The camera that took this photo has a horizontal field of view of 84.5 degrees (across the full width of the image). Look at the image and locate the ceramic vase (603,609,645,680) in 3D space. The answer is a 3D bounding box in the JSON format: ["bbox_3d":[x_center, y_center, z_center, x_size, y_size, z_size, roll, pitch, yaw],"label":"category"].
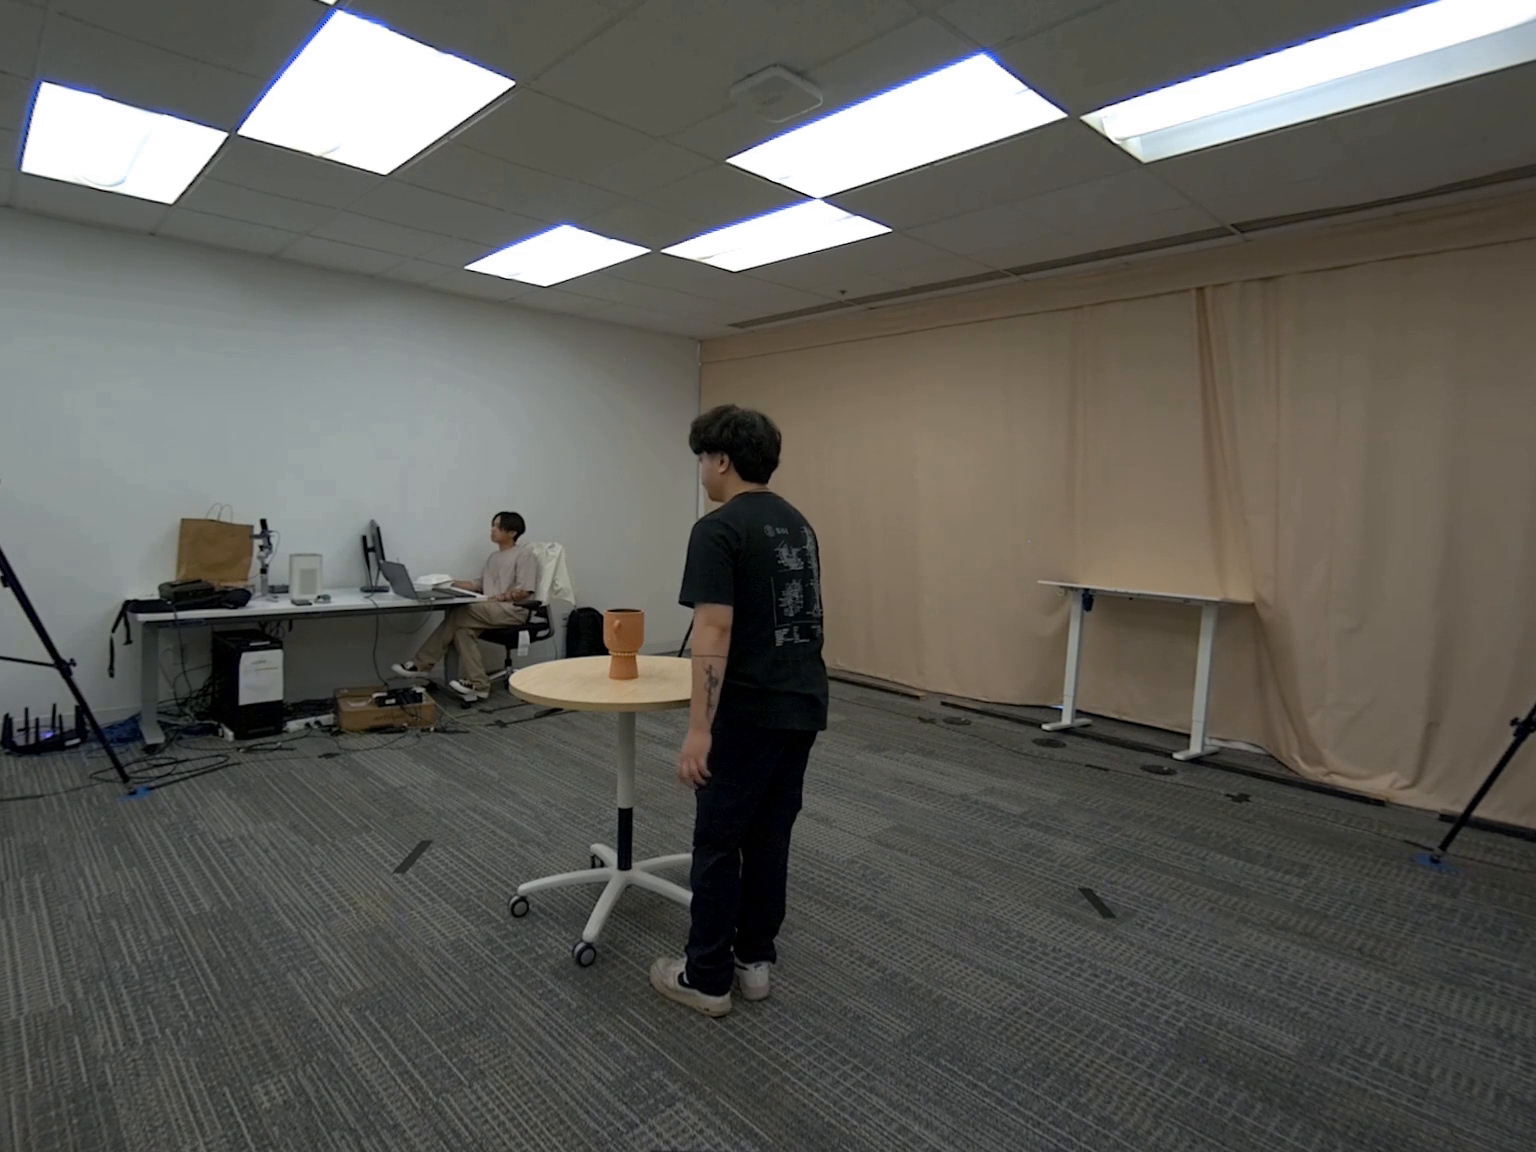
[{"bbox_3d":[-0.486,0.227,2.783,0.155,0.219,0.138,-1,4,-45],"label":"ceramic vase"}]
